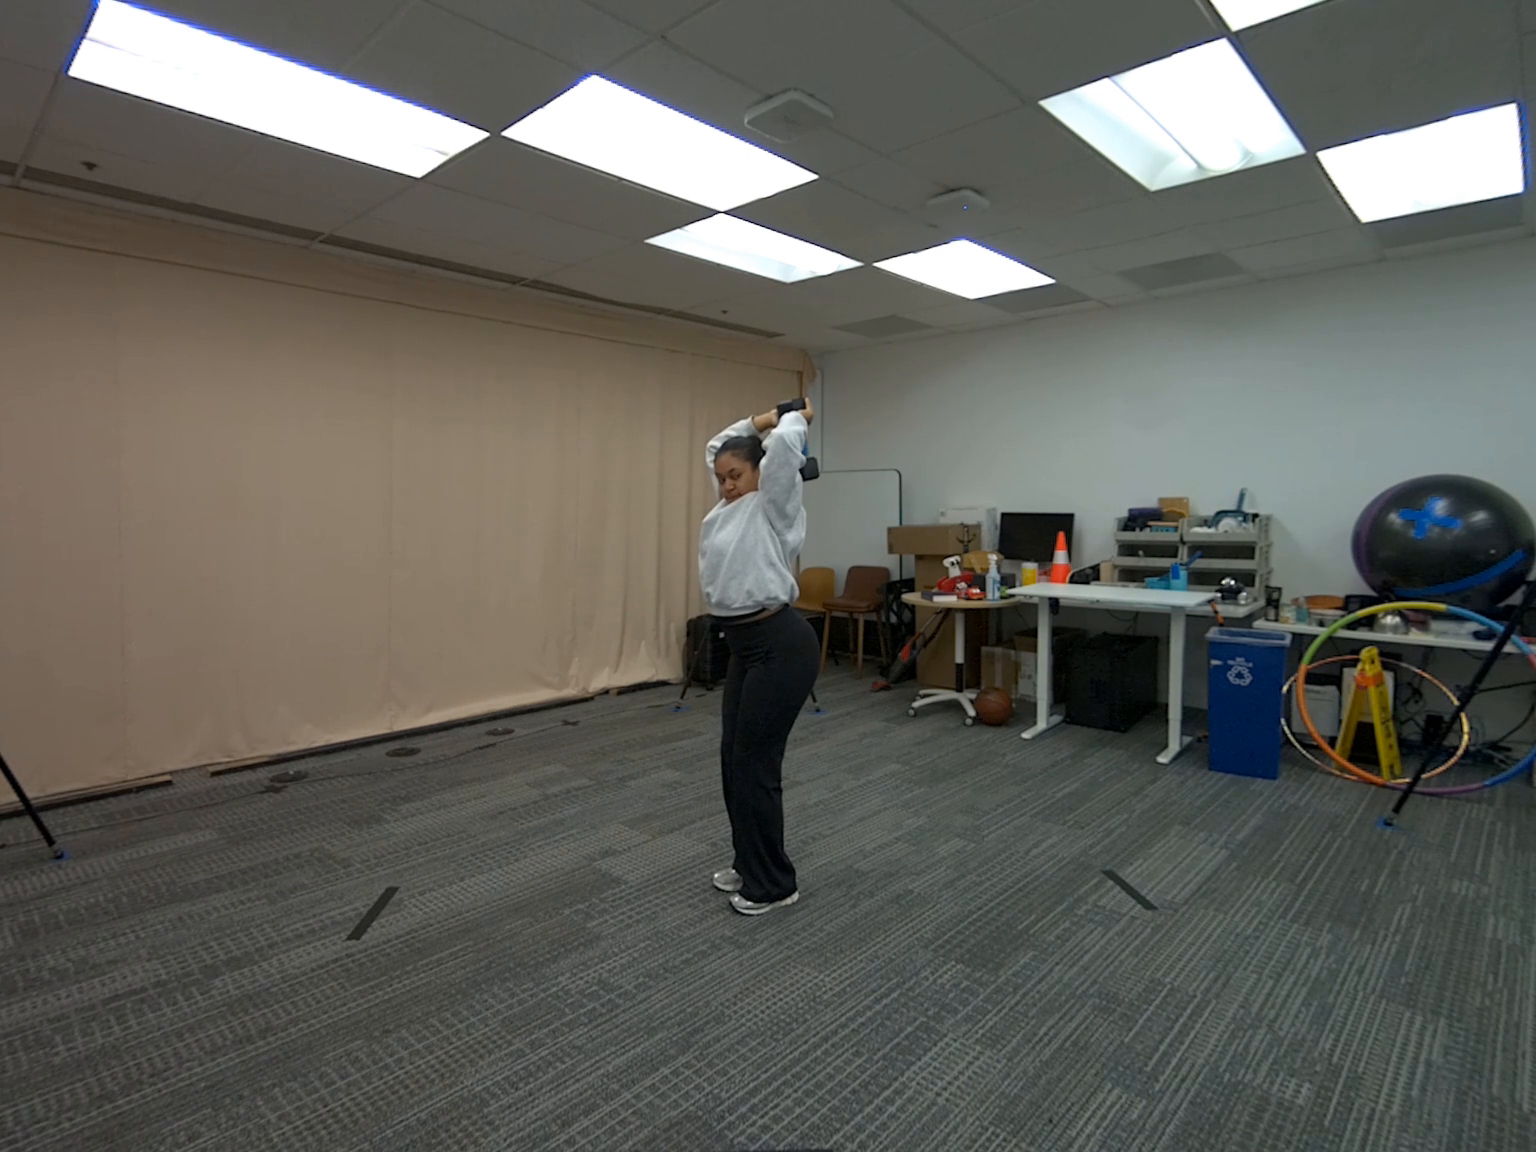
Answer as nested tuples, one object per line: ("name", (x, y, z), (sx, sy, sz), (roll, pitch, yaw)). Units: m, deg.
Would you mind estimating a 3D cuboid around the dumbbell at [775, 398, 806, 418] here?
("dumbbell", (0.114, -0.490, 2.998), (0.126, 0.291, 0.107), (-8, 10, 28))
